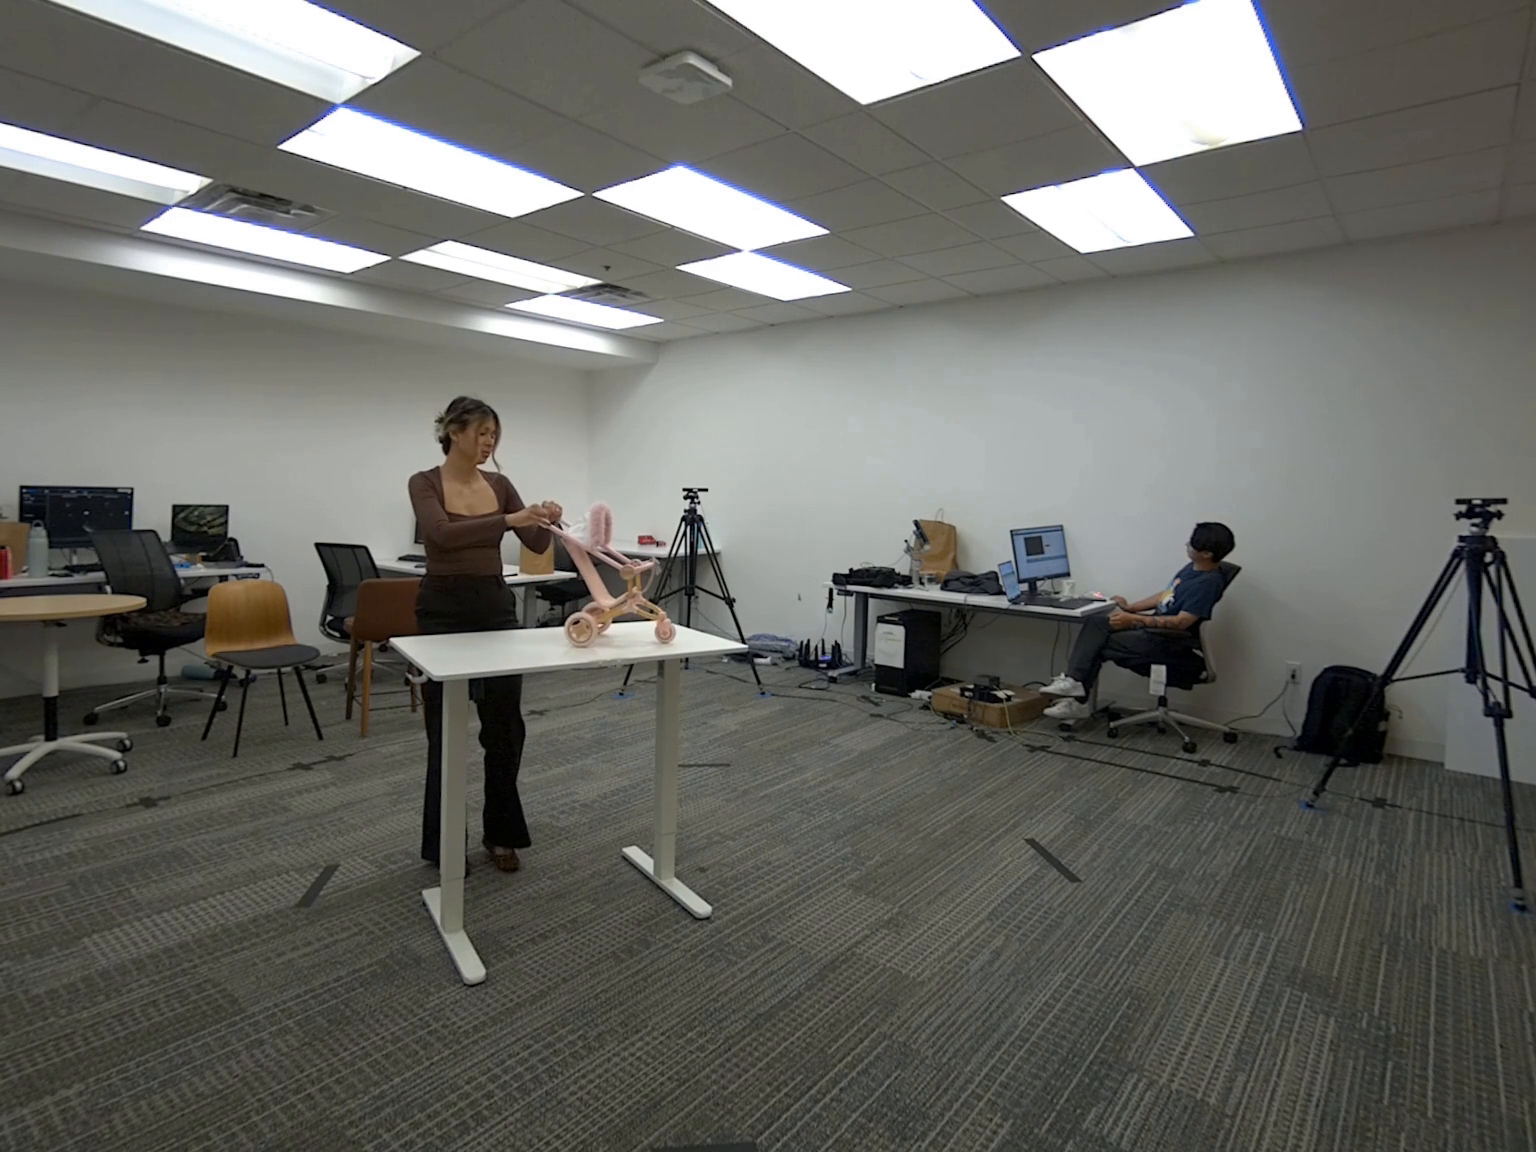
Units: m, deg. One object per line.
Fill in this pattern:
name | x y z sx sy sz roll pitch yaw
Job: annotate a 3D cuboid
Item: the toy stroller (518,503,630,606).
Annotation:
toy stroller | -0.533 -0.004 2.787 0.343 0.534 0.280 -13 3 7
